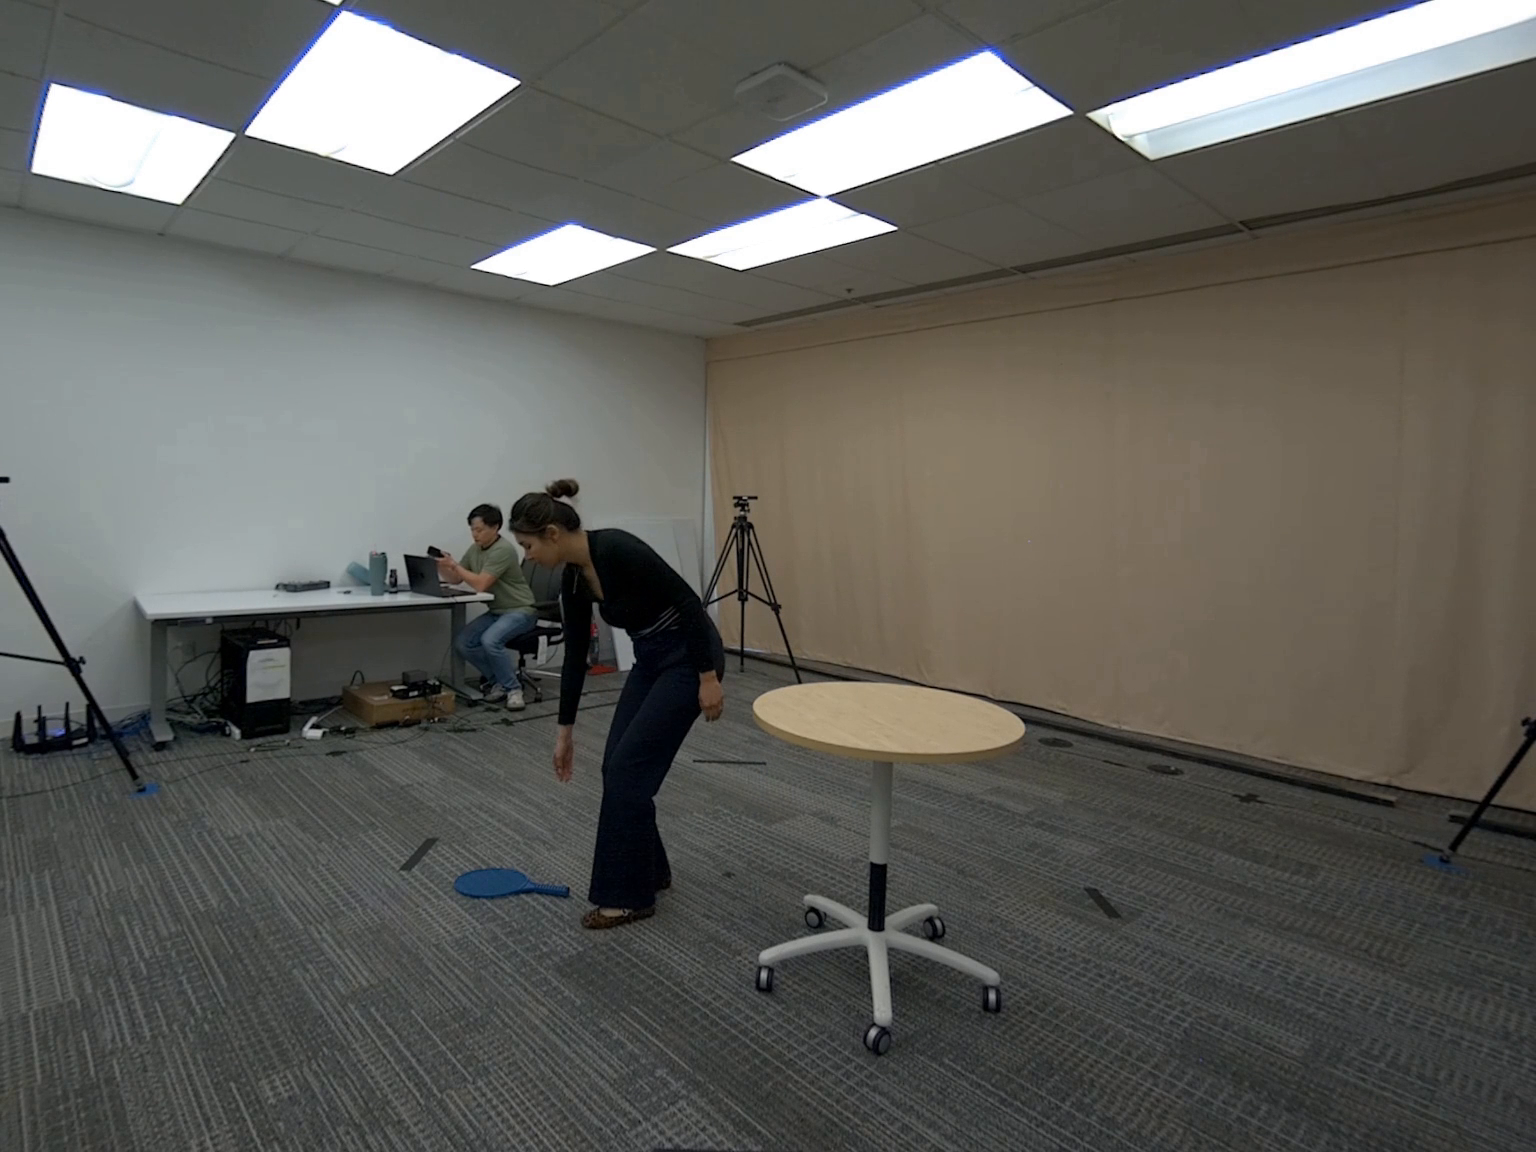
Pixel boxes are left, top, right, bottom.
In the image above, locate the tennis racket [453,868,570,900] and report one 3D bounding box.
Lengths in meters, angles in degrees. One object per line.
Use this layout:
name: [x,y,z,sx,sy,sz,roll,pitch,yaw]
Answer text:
tennis racket: [-0.901,1.083,2.966,0.438,0.031,0.212,1,5,14]
